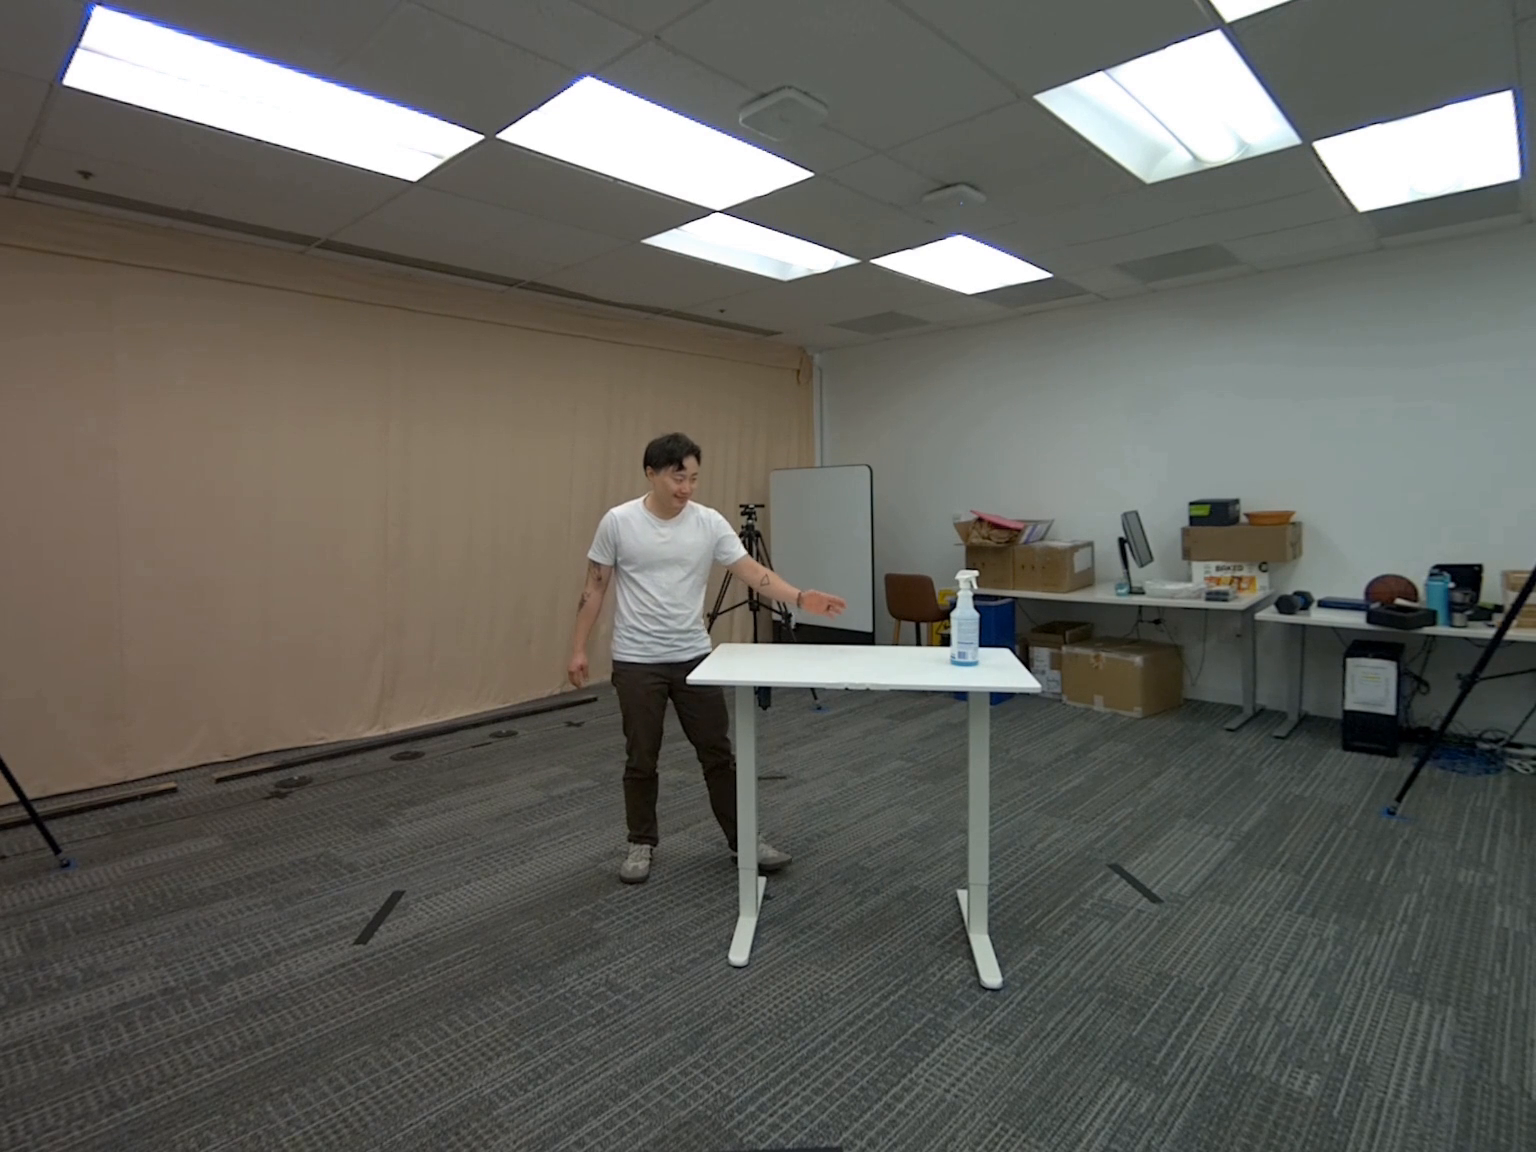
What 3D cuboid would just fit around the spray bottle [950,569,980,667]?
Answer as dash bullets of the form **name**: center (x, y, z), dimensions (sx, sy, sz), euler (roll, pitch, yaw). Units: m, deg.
- **spray bottle**: center (0.621, 0.132, 2.630), dimensions (0.087, 0.296, 0.090), euler (-1, 4, -3)
